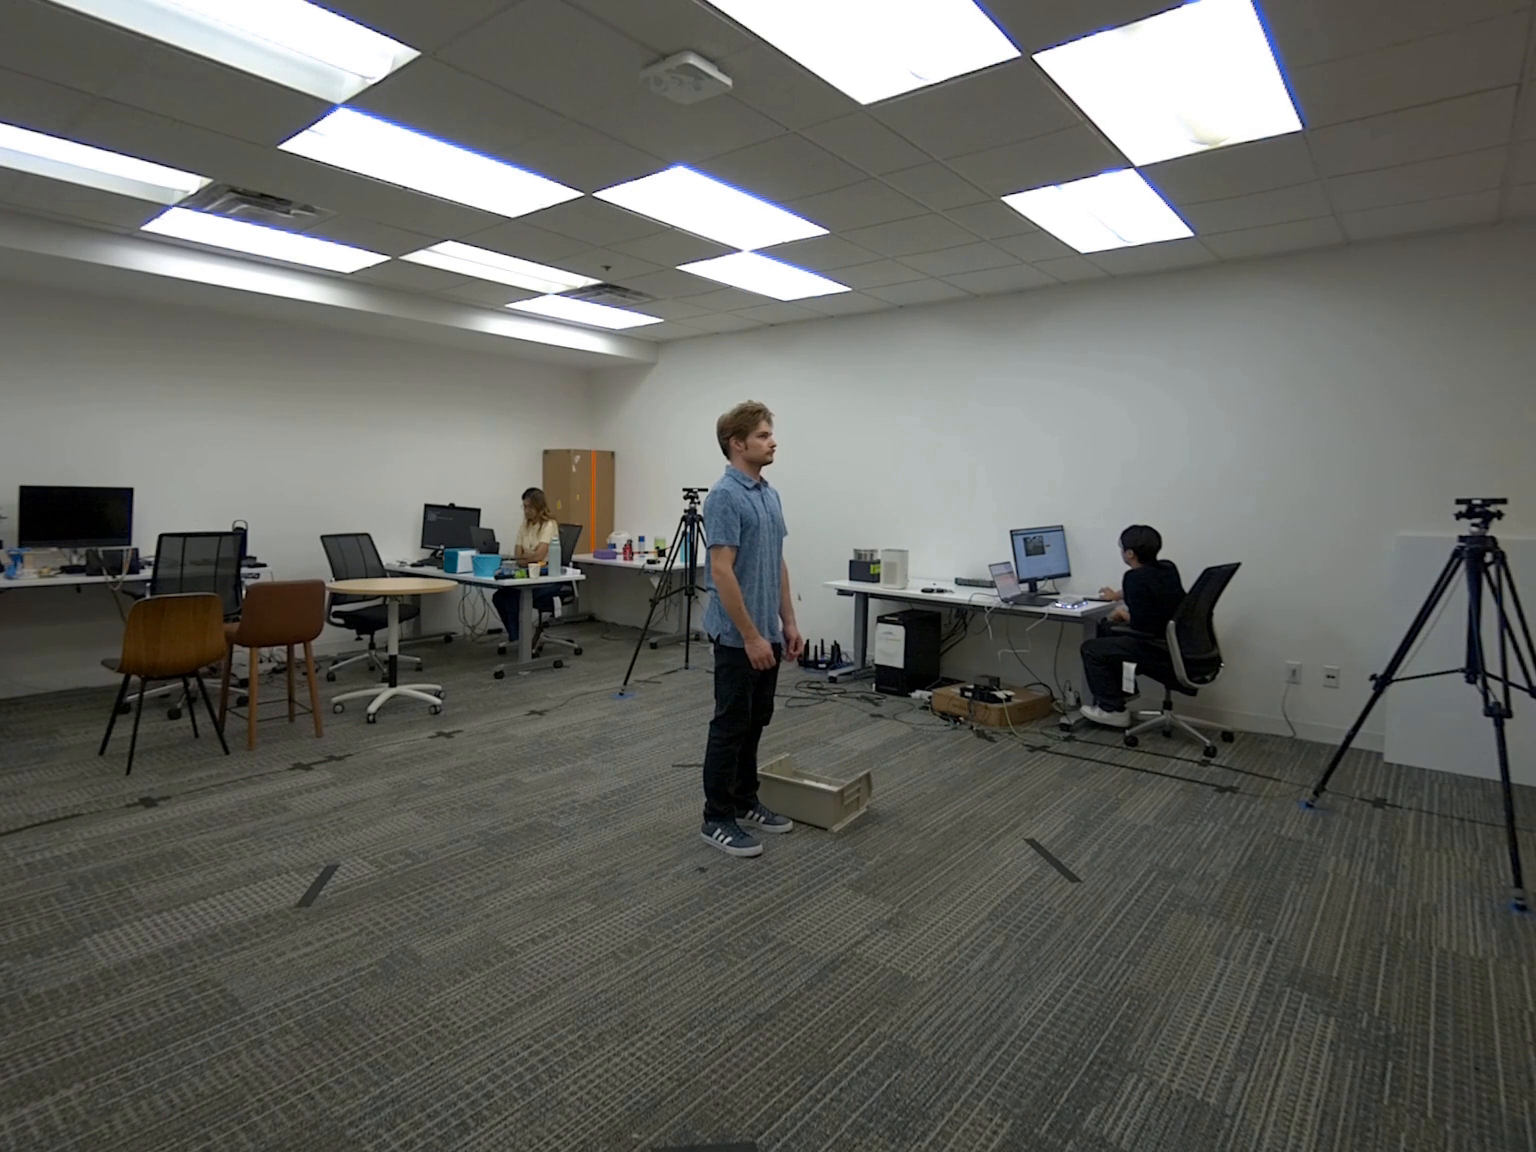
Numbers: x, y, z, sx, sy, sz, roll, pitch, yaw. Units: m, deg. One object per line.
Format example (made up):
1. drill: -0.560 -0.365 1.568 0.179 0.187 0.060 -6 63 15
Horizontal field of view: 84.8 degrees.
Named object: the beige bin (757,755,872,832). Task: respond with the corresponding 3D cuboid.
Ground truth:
1. beige bin: 0.184 0.926 3.722 0.435 0.188 0.367 4 7 33
